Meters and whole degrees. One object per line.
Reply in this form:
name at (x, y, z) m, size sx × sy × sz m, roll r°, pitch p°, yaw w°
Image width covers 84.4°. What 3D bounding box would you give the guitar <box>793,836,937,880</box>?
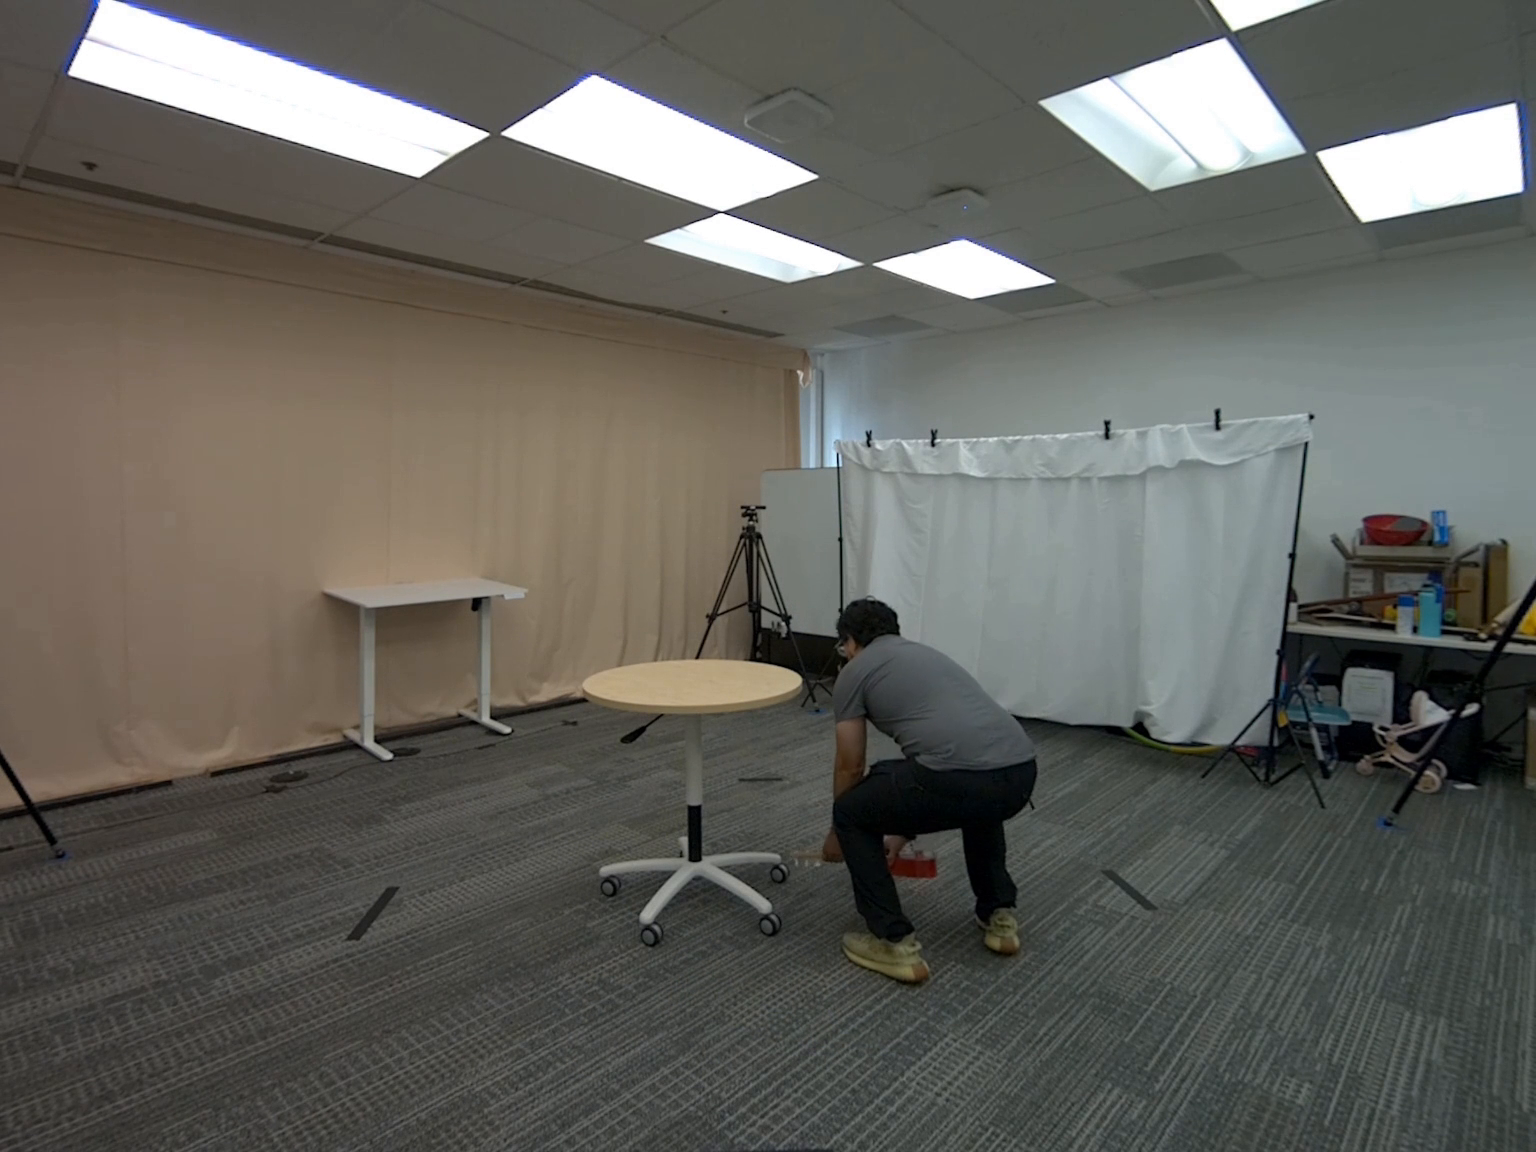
guitar at (0.330, 0.981, 2.925) m, size 0.505 × 0.071 × 0.189 m, roll -3°, pitch -10°, yaw 14°
